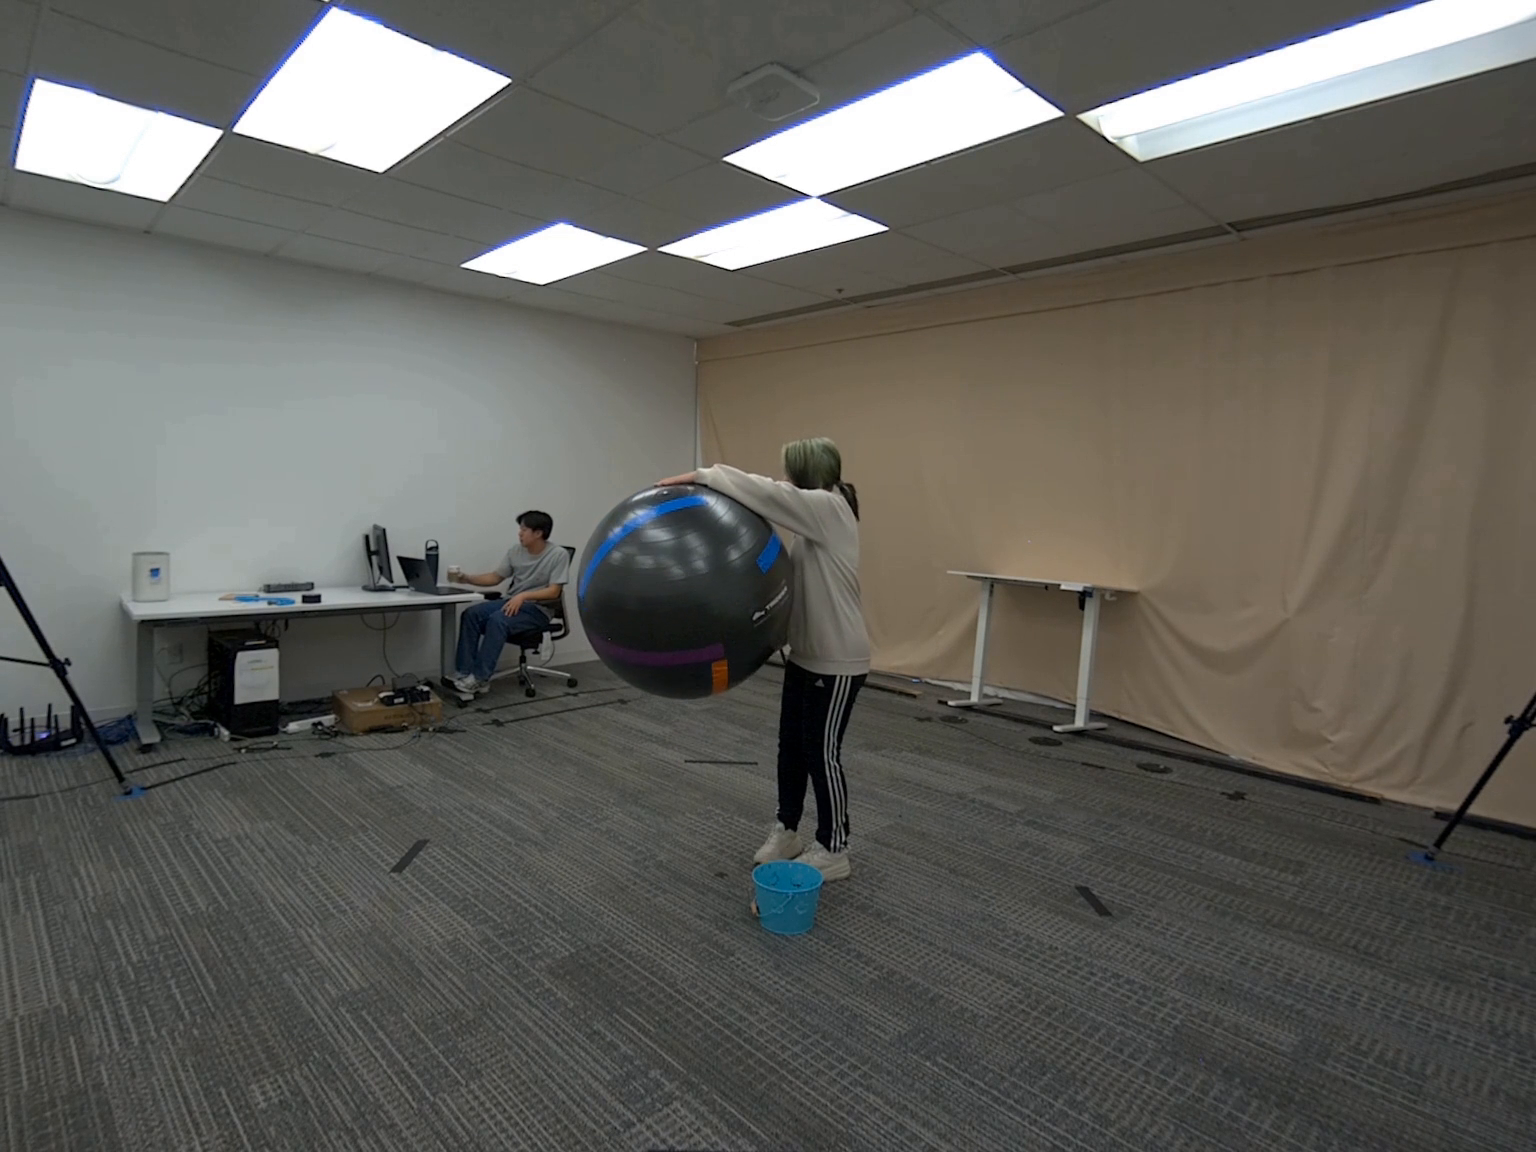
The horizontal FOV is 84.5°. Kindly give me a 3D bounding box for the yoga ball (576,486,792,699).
[{"bbox_3d":[-0.299,0.051,2.942,0.757,0.756,0.761,1,4,-1],"label":"yoga ball"}]
